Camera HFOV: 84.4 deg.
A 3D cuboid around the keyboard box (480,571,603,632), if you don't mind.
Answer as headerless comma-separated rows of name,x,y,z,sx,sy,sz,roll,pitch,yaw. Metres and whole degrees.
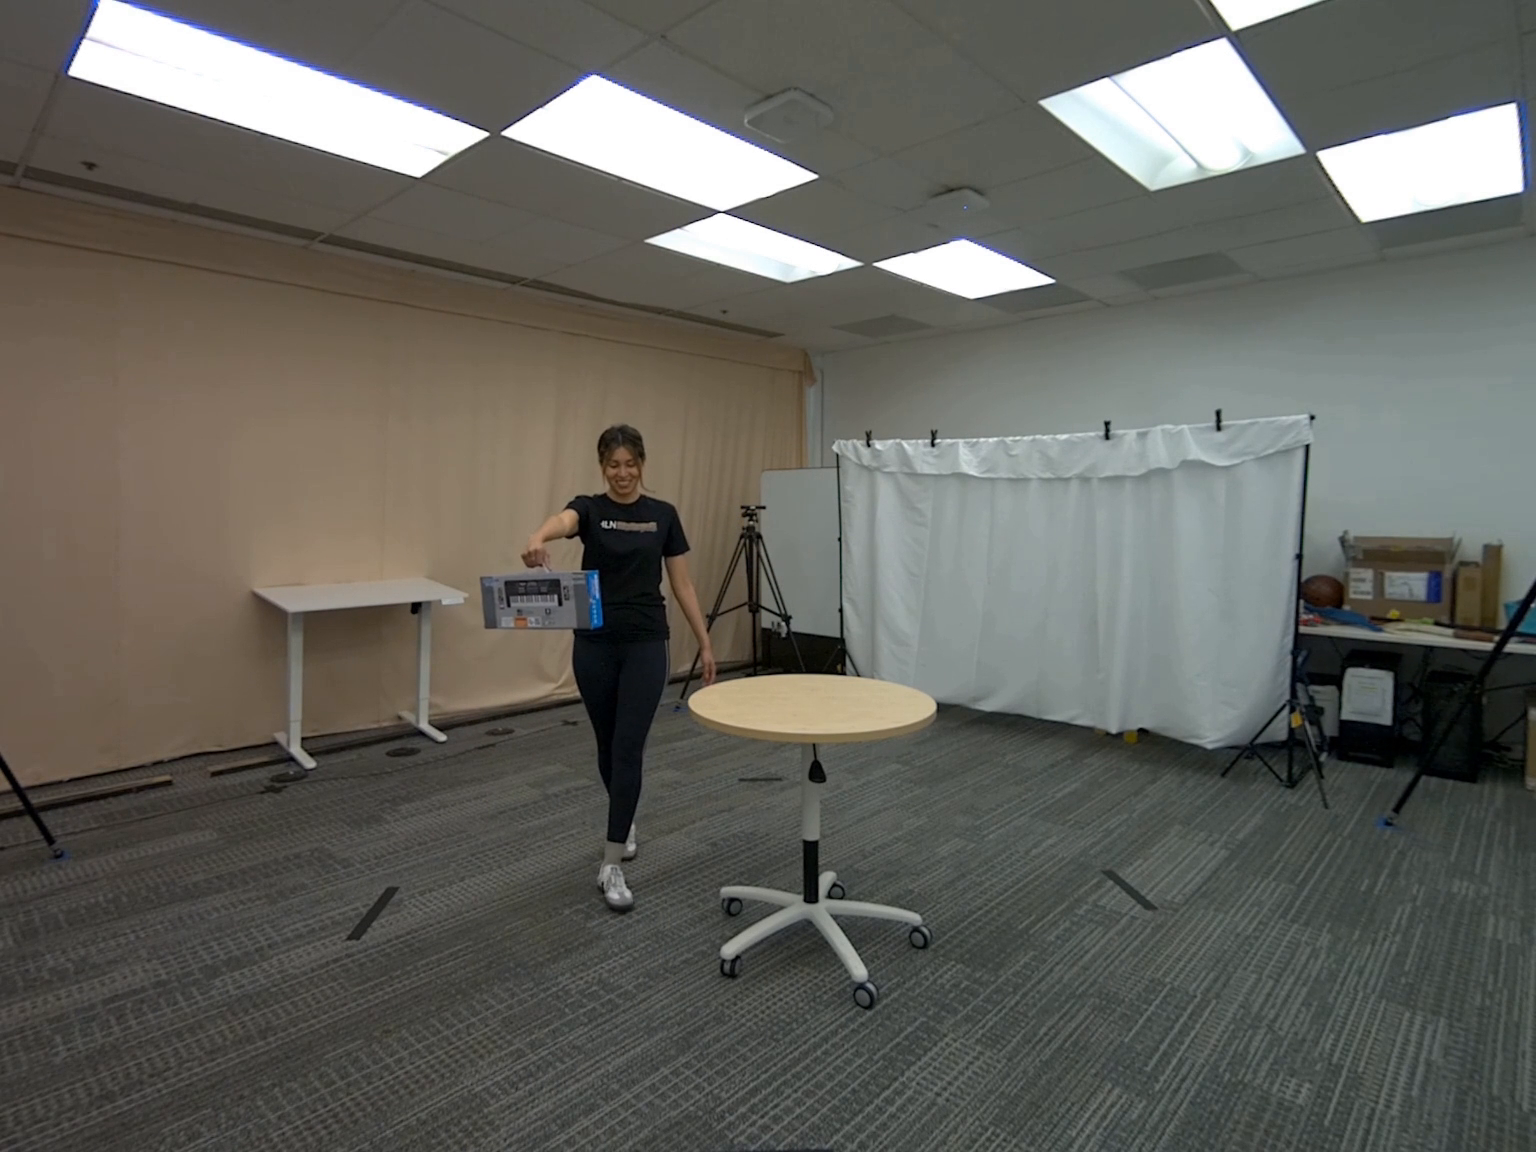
keyboard box,-0.716,0.079,2.648,0.448,0.175,0.058,-2,3,28
